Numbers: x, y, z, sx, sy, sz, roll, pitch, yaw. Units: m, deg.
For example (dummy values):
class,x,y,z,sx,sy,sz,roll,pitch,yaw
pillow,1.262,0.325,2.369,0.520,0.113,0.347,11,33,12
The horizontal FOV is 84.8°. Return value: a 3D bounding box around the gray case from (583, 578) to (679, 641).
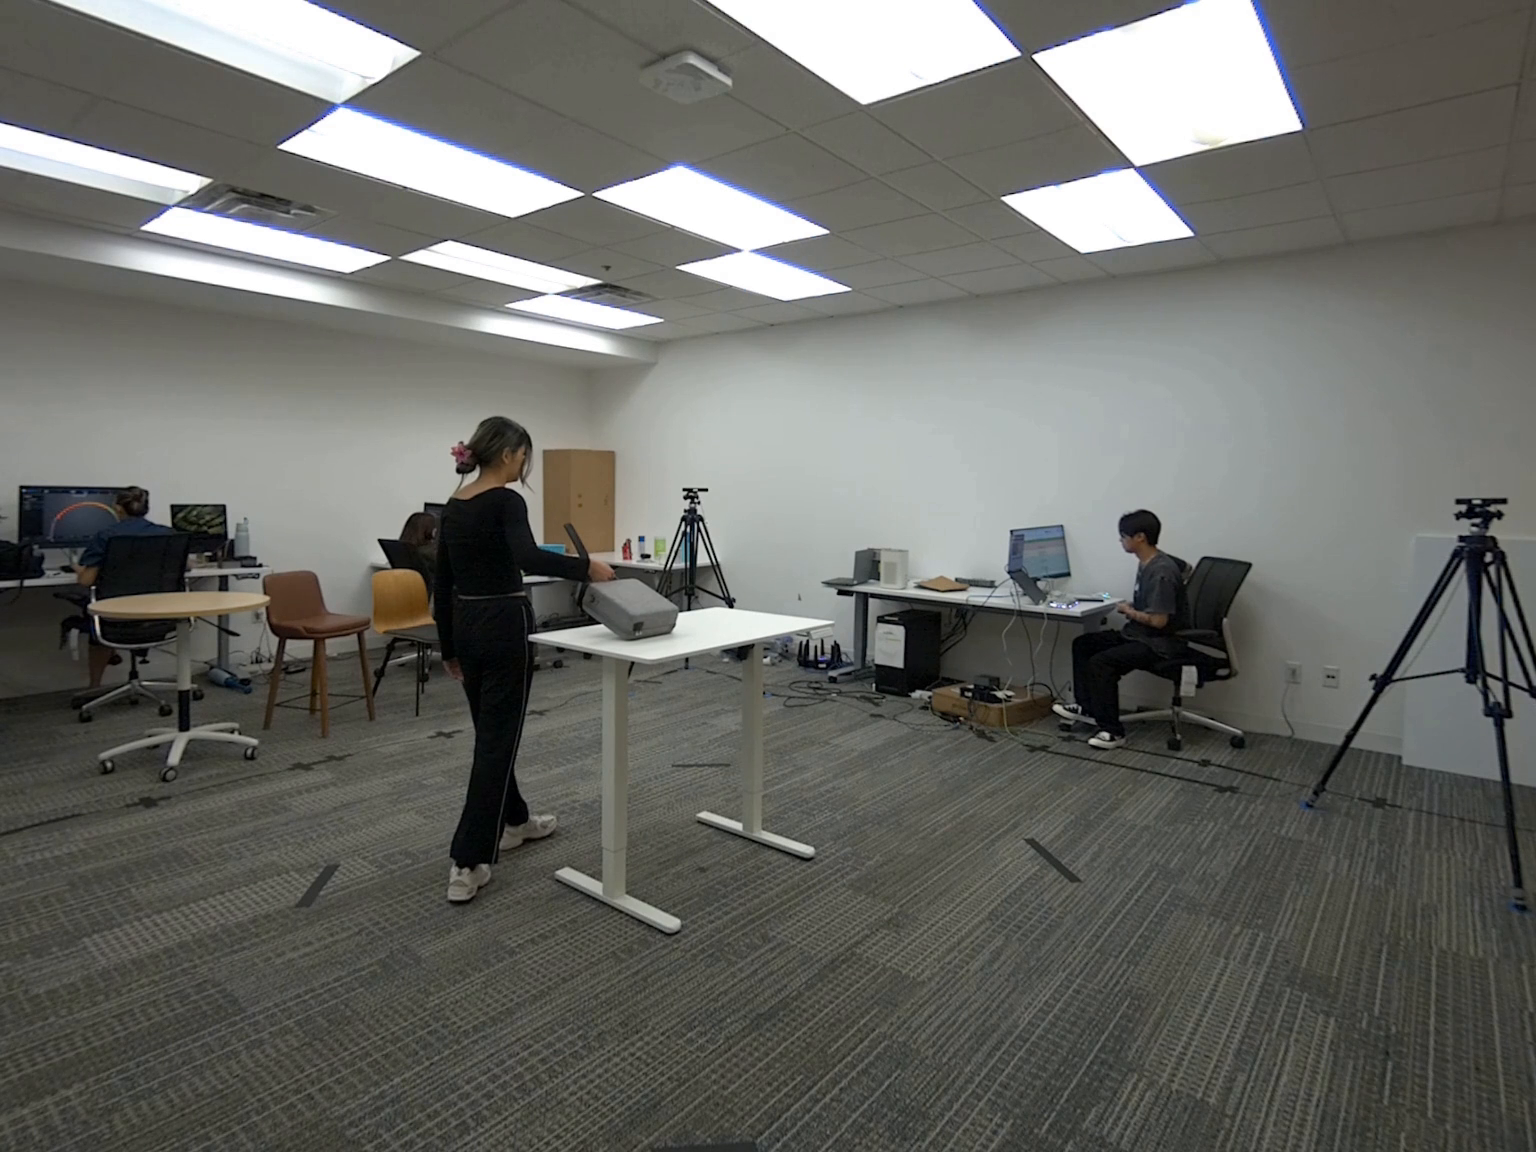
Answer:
class,x,y,z,sx,sy,sz,roll,pitch,yaw
gray case,-0.482,0.109,2.950,0.271,0.103,0.250,30,23,31
